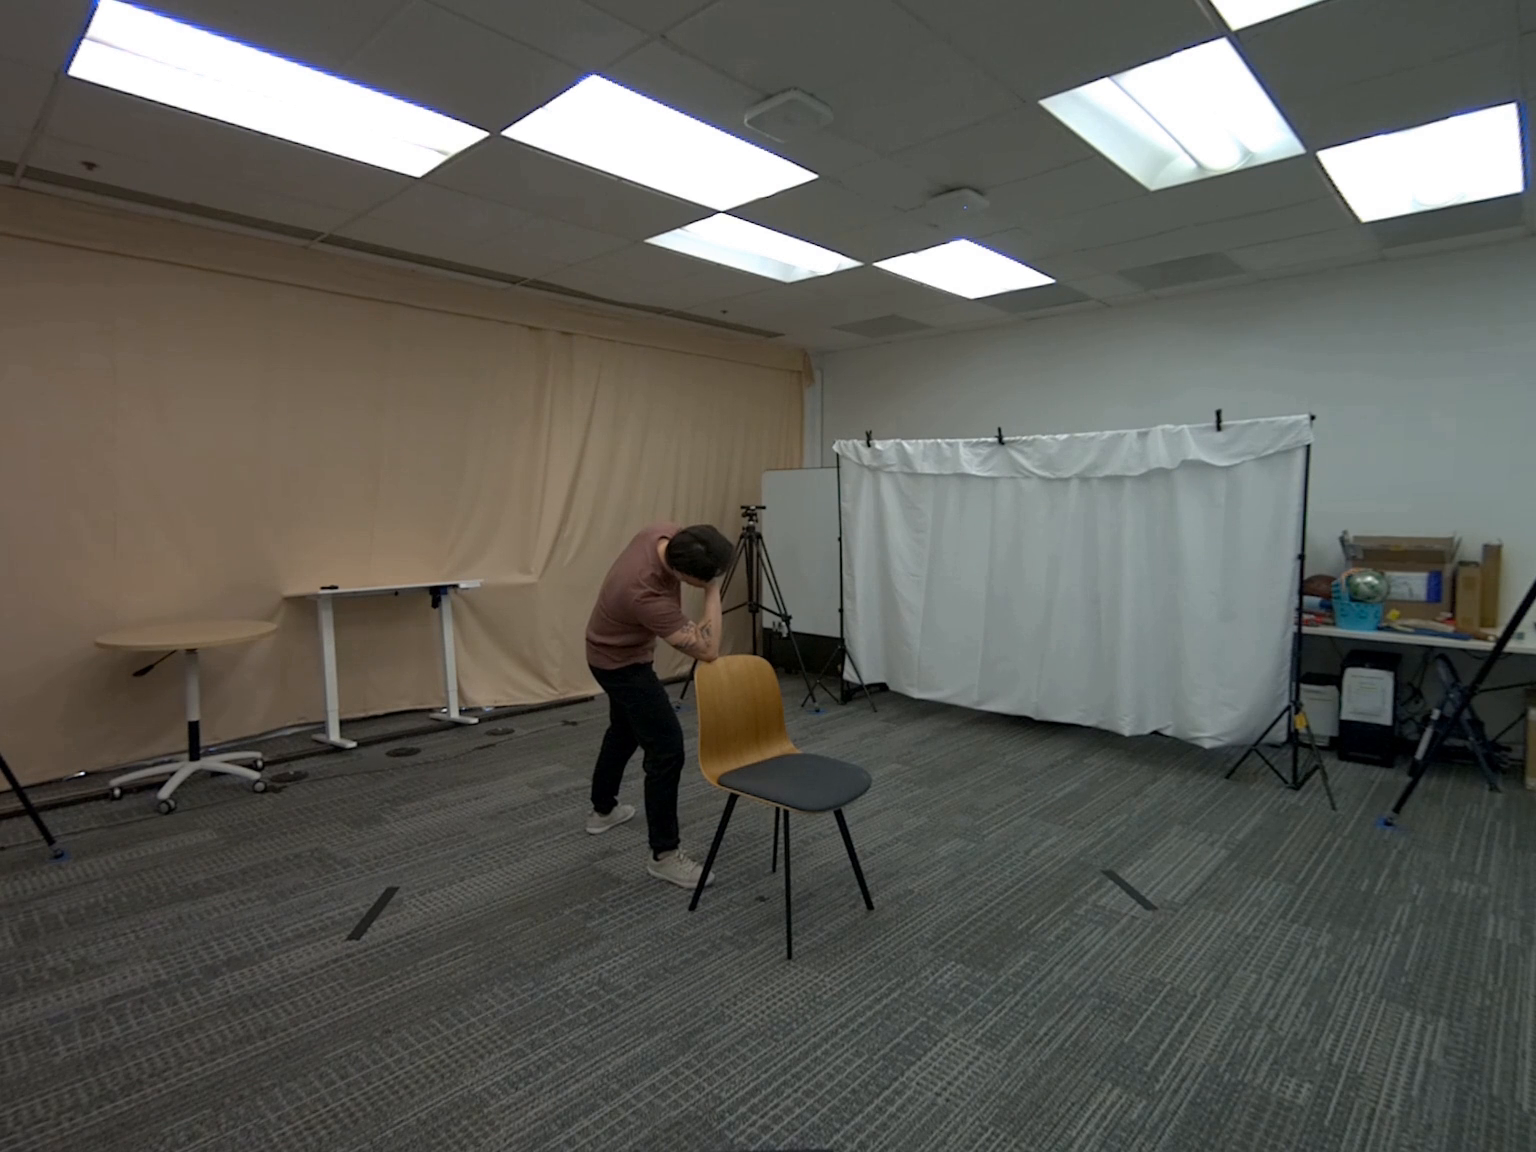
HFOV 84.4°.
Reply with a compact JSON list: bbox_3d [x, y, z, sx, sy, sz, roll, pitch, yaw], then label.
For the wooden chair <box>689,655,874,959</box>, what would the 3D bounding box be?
[{"bbox_3d":[0.055,0.726,2.862,0.539,0.877,0.463,-3,0,43],"label":"wooden chair"}]
